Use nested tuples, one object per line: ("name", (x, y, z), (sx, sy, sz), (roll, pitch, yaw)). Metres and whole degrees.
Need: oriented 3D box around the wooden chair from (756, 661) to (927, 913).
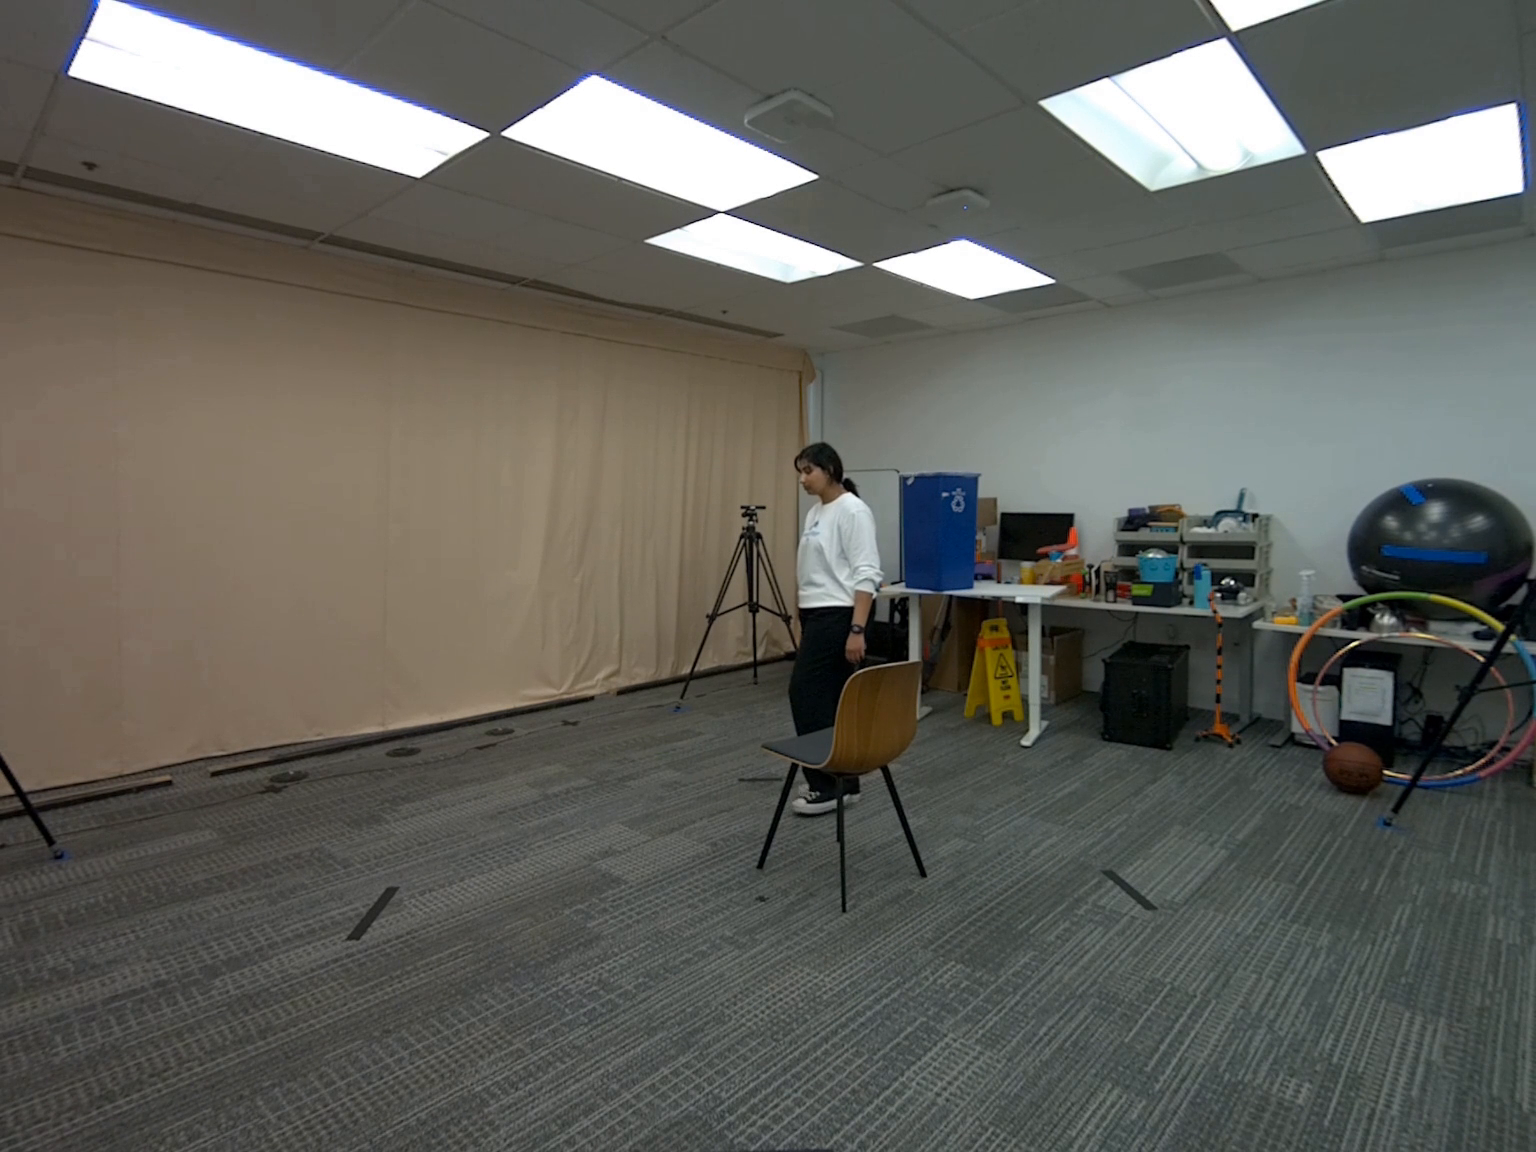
("wooden chair", (0.266, 0.695, 3.167), (0.463, 0.874, 0.541), (-3, 8, -40))
